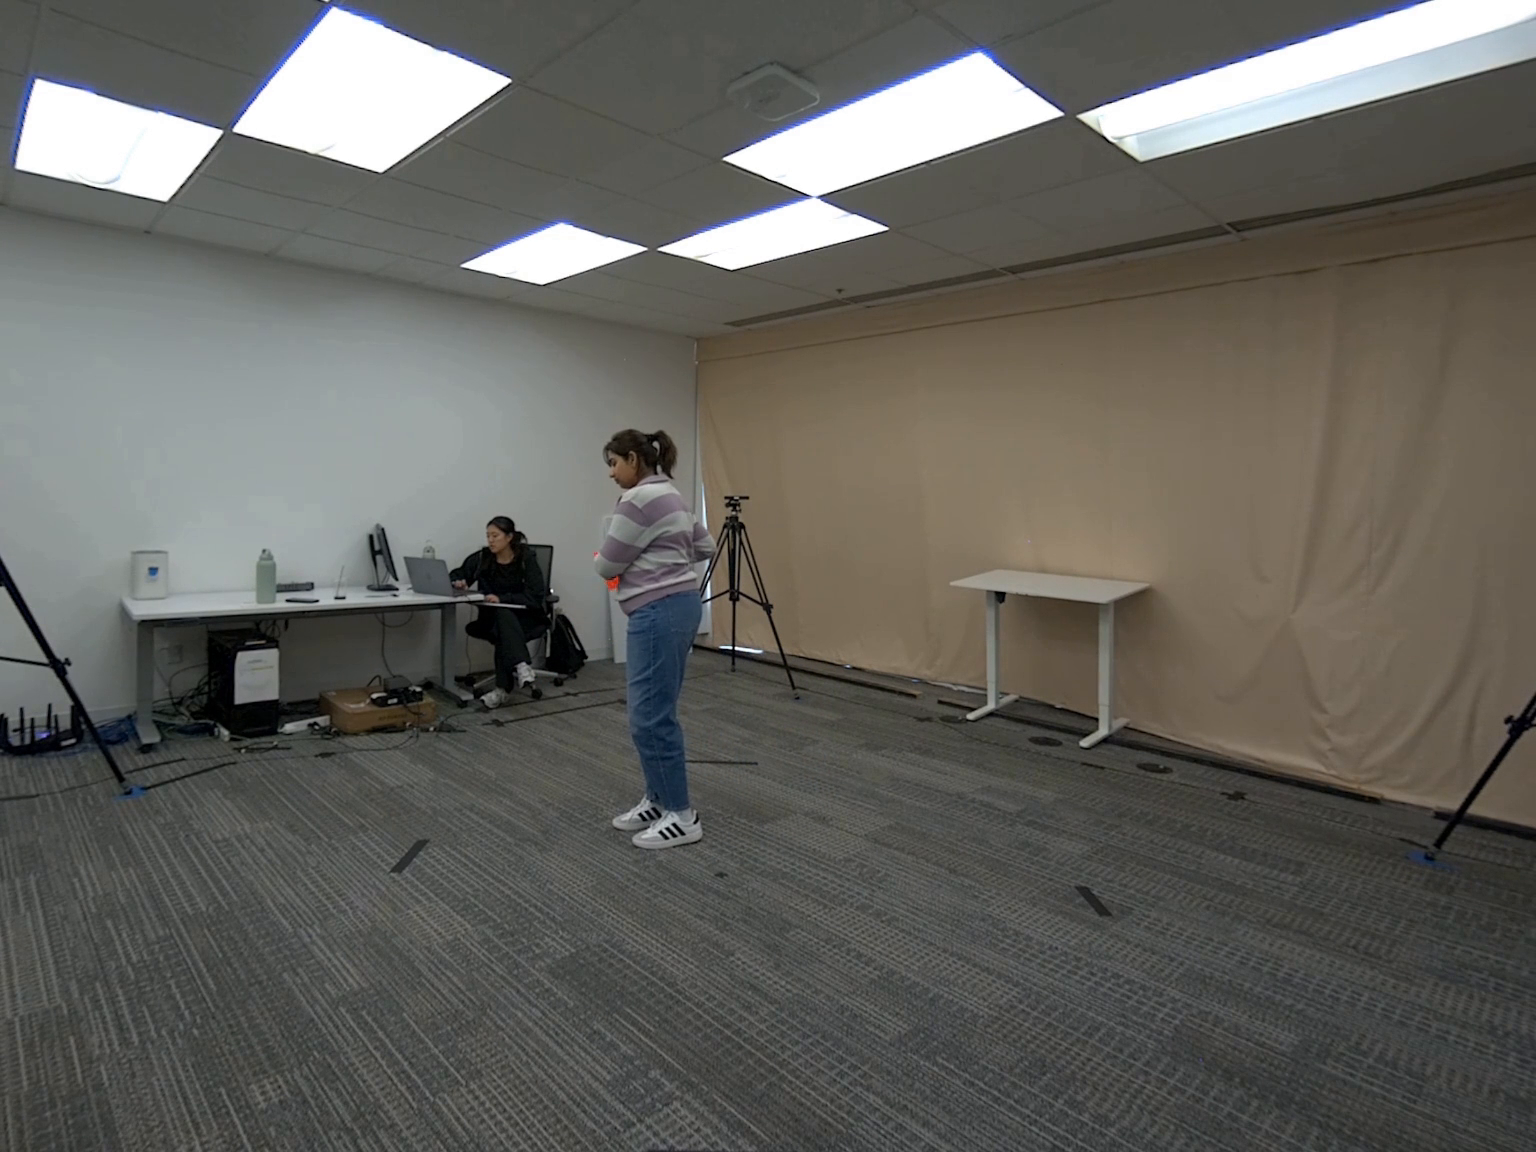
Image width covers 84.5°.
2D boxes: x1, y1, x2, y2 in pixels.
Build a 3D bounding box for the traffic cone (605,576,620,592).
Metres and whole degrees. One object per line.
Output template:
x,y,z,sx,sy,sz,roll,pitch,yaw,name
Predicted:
-0.684,-0.049,3.872,0.203,0.203,0.386,-8,1,-11,traffic cone
